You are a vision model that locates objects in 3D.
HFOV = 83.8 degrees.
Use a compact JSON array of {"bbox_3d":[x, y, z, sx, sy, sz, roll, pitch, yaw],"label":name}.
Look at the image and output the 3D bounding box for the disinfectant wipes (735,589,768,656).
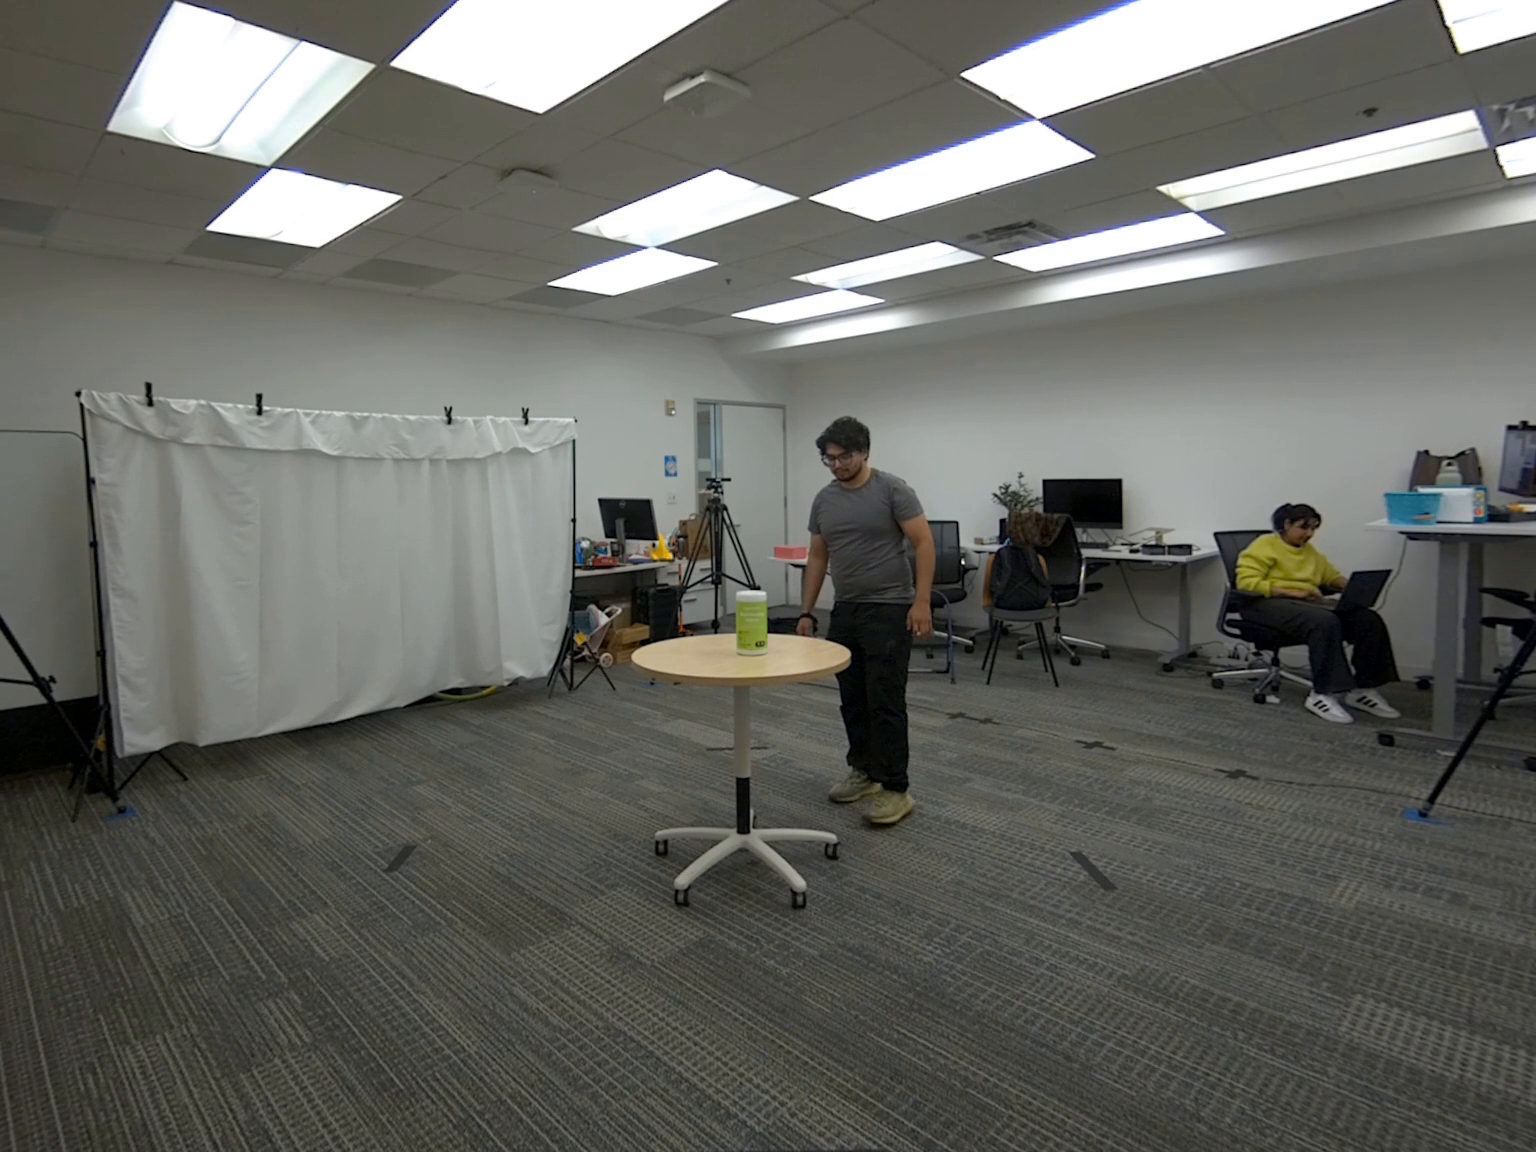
[{"bbox_3d":[-0.059,0.159,2.995,0.118,0.217,0.118,-1,3,-2],"label":"disinfectant wipes"}]
